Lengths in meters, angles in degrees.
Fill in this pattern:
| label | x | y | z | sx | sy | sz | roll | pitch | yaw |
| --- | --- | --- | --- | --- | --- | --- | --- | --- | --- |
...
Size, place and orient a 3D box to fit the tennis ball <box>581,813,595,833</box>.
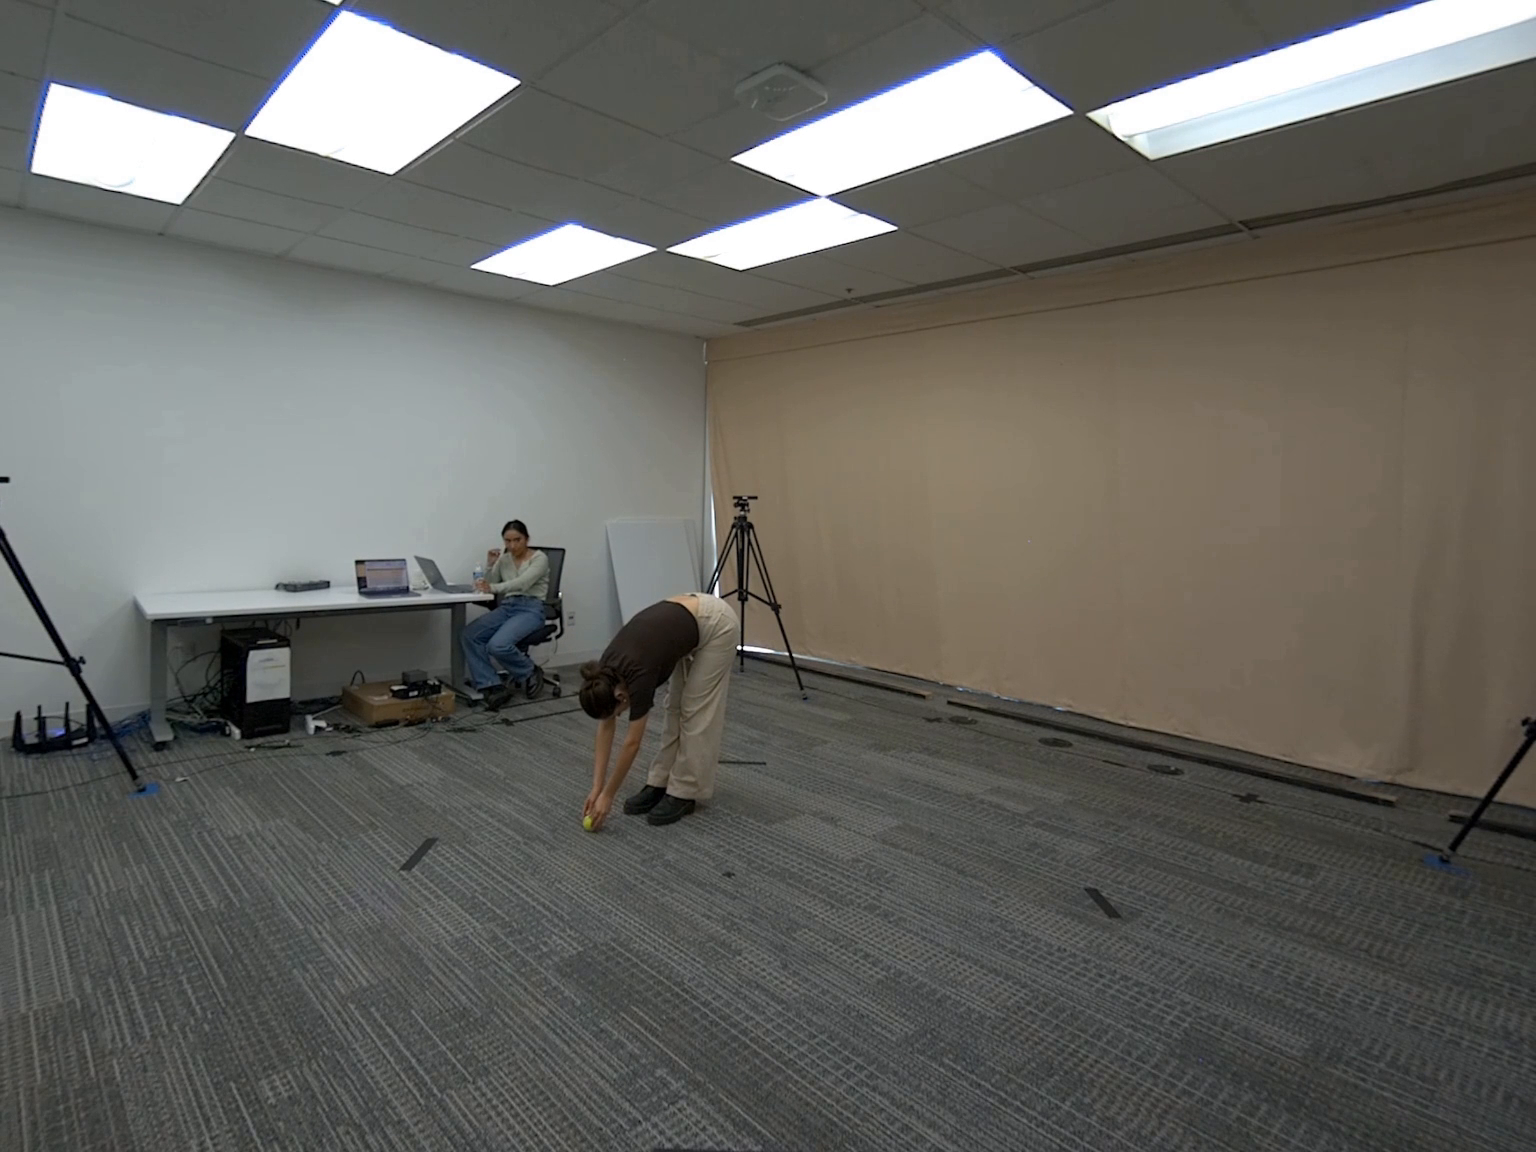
| label | x | y | z | sx | sy | sz | roll | pitch | yaw |
| --- | --- | --- | --- | --- | --- | --- | --- | --- | --- |
| tennis ball | -0.741 | 1.008 | 3.485 | 0.066 | 0.066 | 0.067 | 1 | 4 | -1 |
